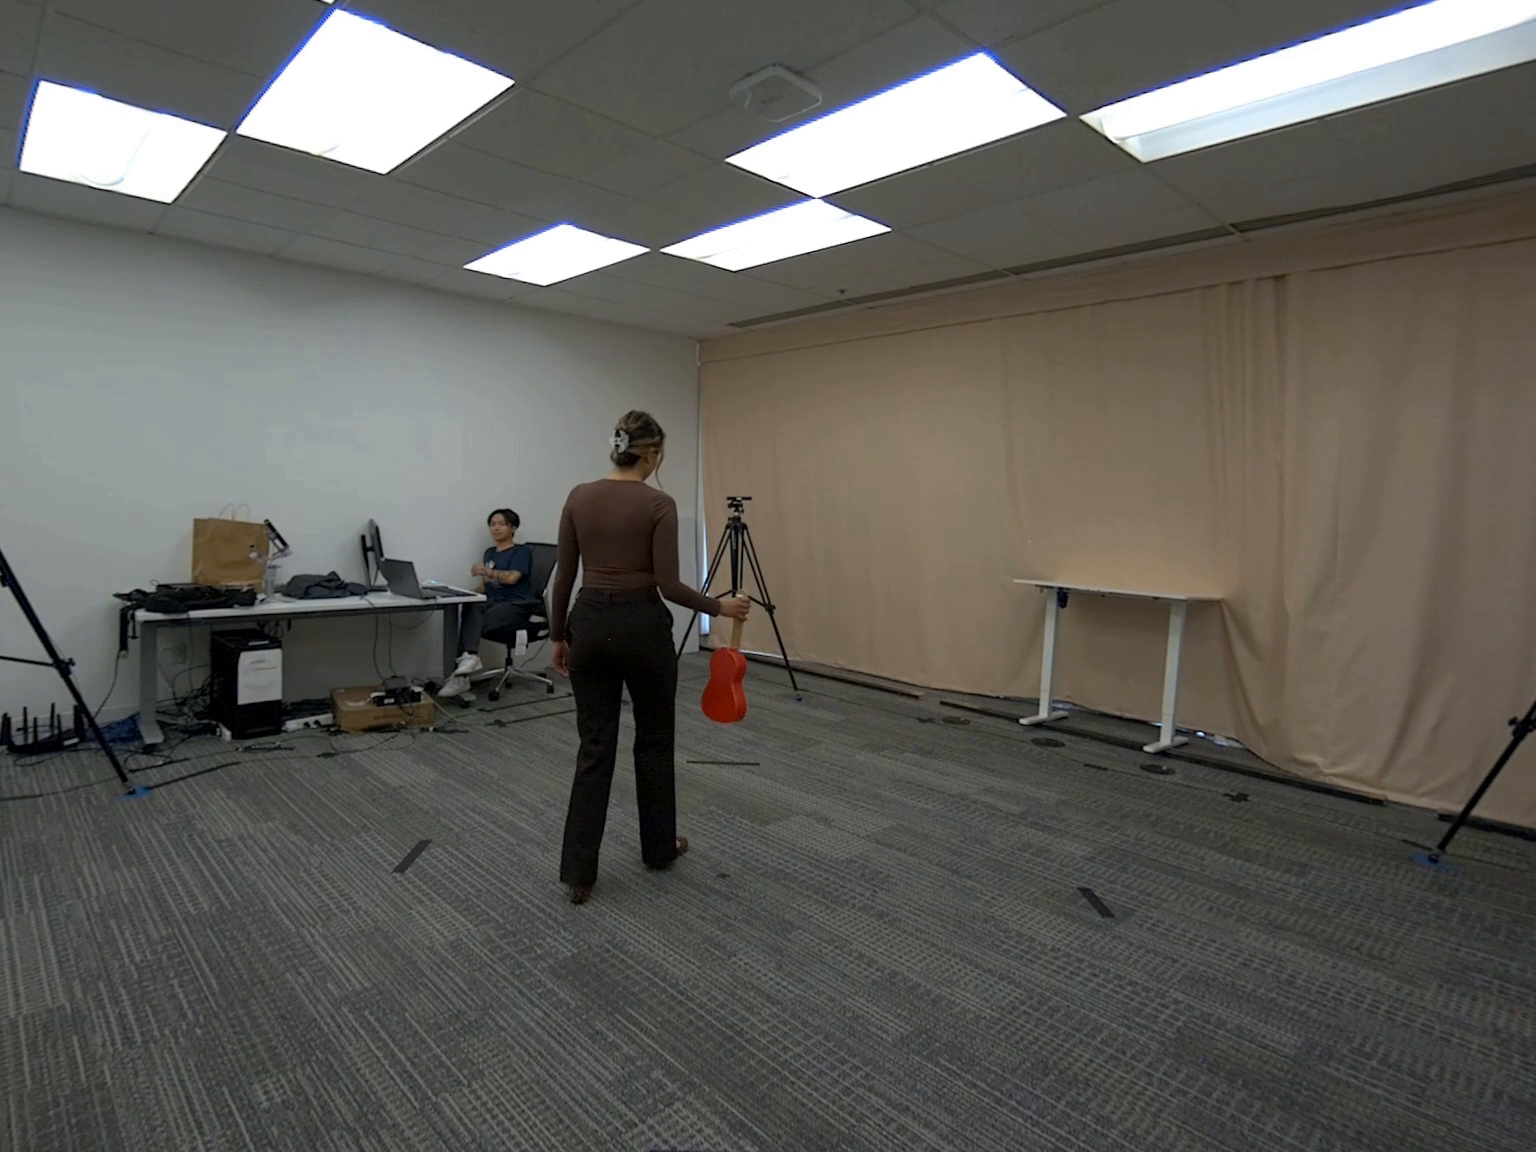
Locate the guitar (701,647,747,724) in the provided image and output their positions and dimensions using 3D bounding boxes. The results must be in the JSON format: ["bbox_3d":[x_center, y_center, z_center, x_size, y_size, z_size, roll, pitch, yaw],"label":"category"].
[{"bbox_3d":[-0.165,0.301,3.192,0.069,0.500,0.197,11,-10,-42],"label":"guitar"}]
